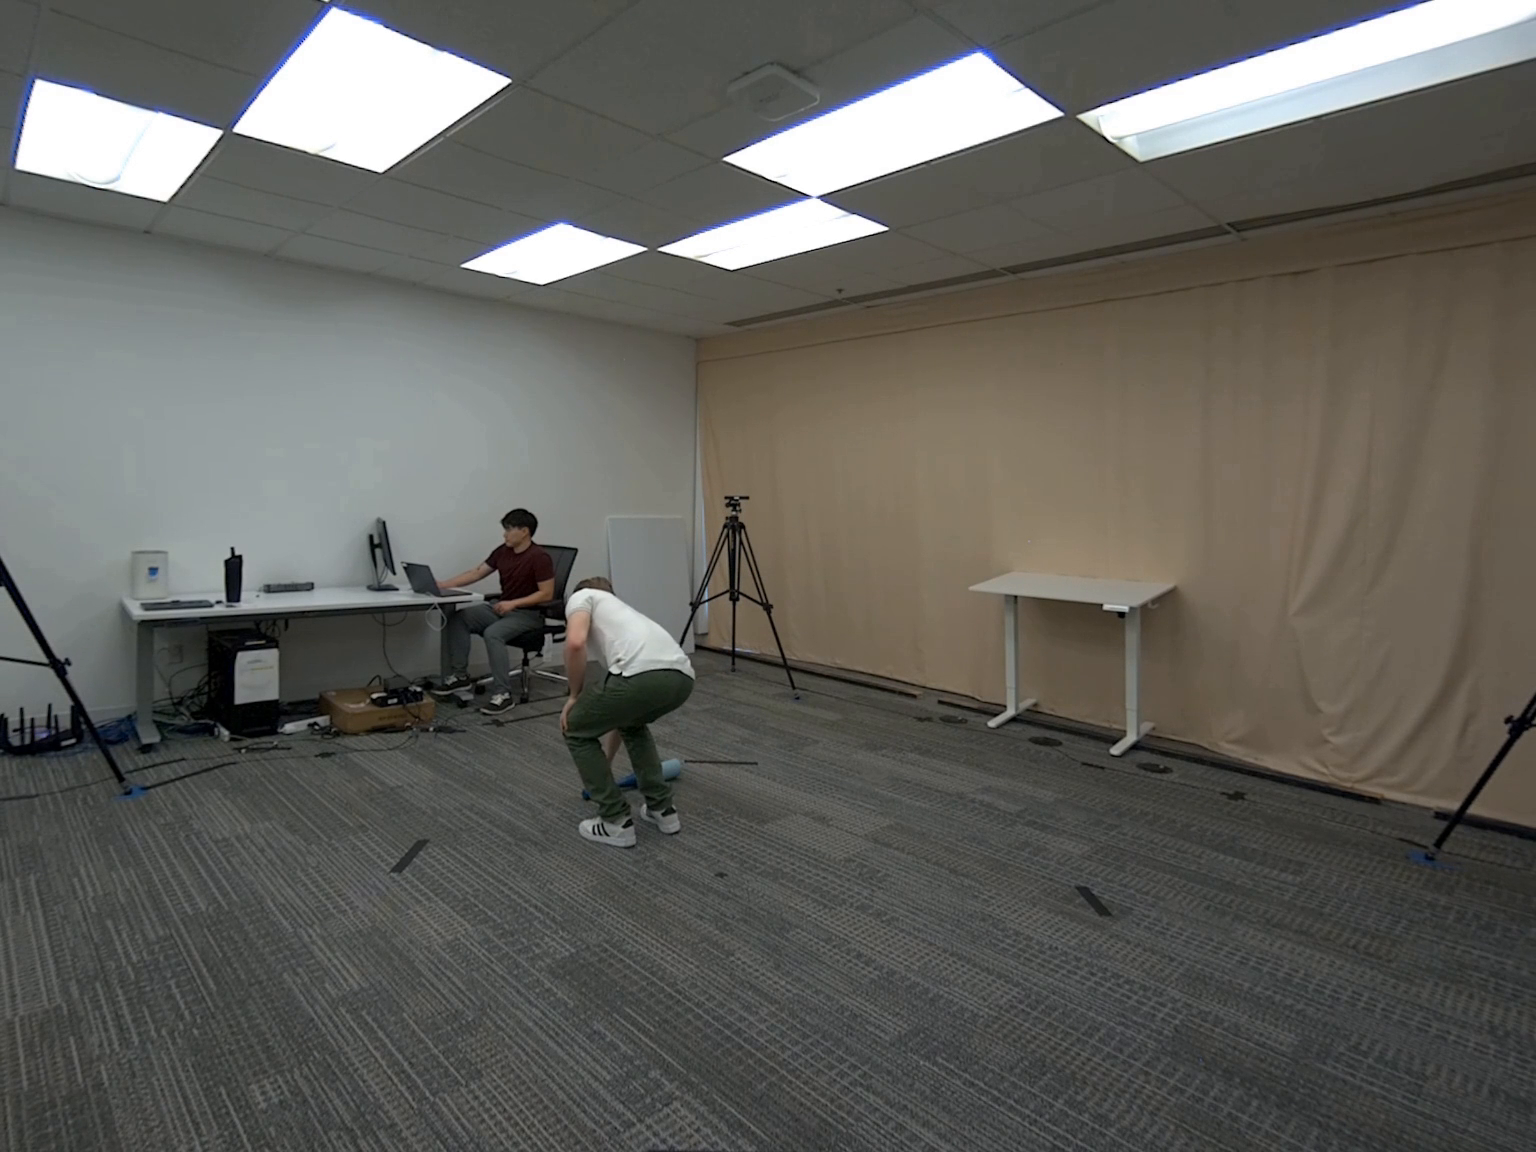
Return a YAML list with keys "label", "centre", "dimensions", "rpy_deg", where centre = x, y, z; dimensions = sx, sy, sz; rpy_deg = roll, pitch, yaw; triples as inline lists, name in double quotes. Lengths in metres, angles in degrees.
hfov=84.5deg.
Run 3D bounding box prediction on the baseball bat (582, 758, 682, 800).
- label: "baseball bat"
  centre: [-0.649, 0.973, 4.003]
  dimensions: [0.531, 0.088, 0.091]
  rpy_deg: [-7, 9, -43]
